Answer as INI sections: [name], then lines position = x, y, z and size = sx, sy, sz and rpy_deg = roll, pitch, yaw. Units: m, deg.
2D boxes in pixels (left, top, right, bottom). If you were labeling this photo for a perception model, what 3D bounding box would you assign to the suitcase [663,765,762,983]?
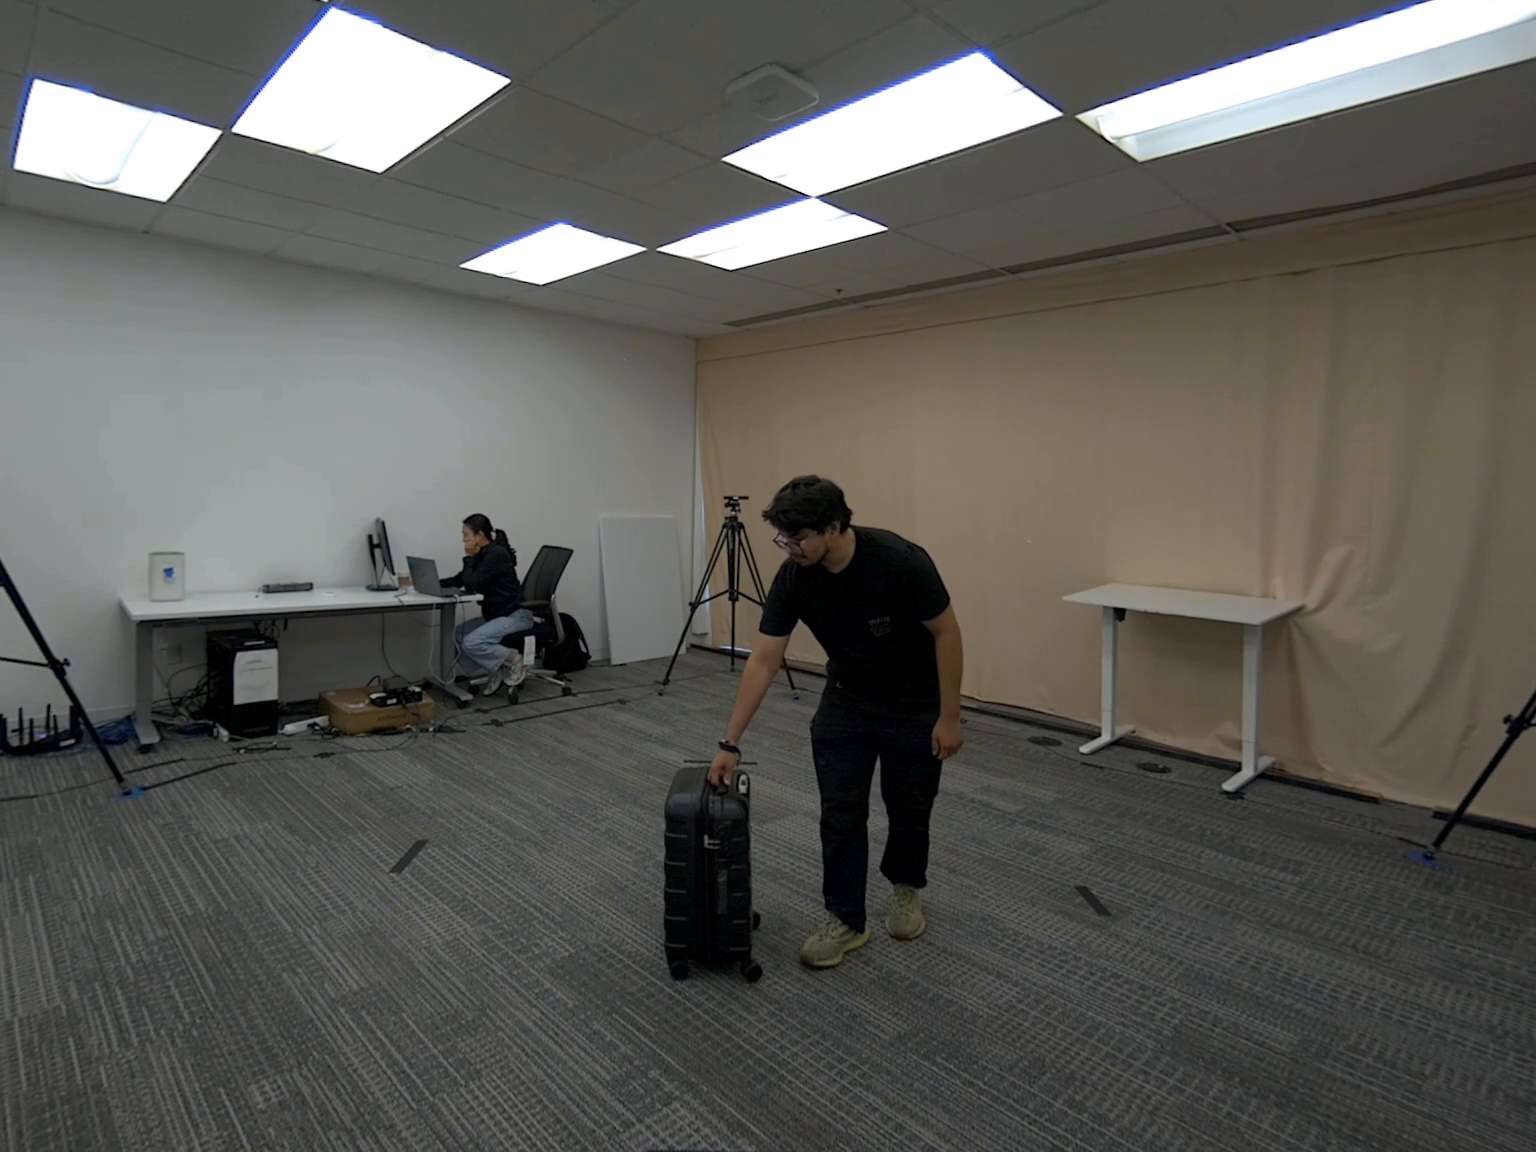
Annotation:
[suitcase]
position = -0.182, 0.888, 2.553
size = 0.248, 0.547, 0.377
rpy_deg = -2, 5, -3
